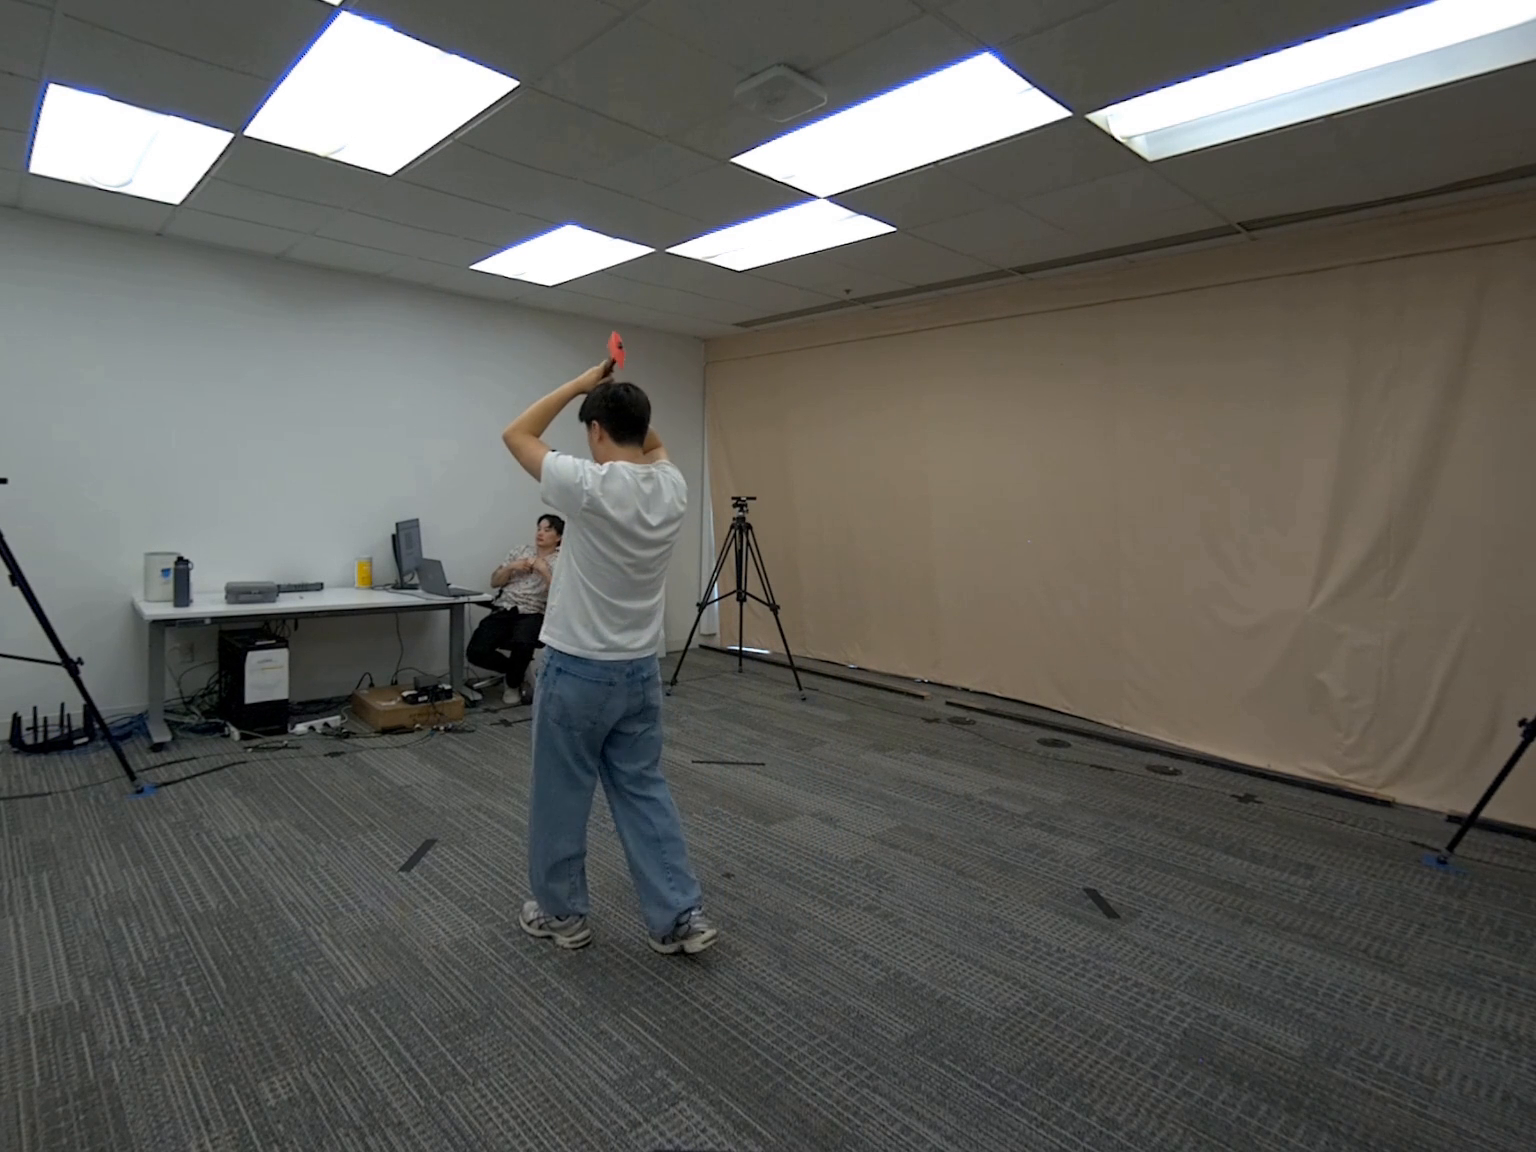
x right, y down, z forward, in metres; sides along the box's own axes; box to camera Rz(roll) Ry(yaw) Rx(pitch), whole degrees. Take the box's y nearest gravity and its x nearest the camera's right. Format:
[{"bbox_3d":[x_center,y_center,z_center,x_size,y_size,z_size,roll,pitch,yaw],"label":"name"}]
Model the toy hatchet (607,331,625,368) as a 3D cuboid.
[{"bbox_3d":[-0.504,-0.660,2.592,0.029,0.131,0.275,-2,-4,-32],"label":"toy hatchet"}]
